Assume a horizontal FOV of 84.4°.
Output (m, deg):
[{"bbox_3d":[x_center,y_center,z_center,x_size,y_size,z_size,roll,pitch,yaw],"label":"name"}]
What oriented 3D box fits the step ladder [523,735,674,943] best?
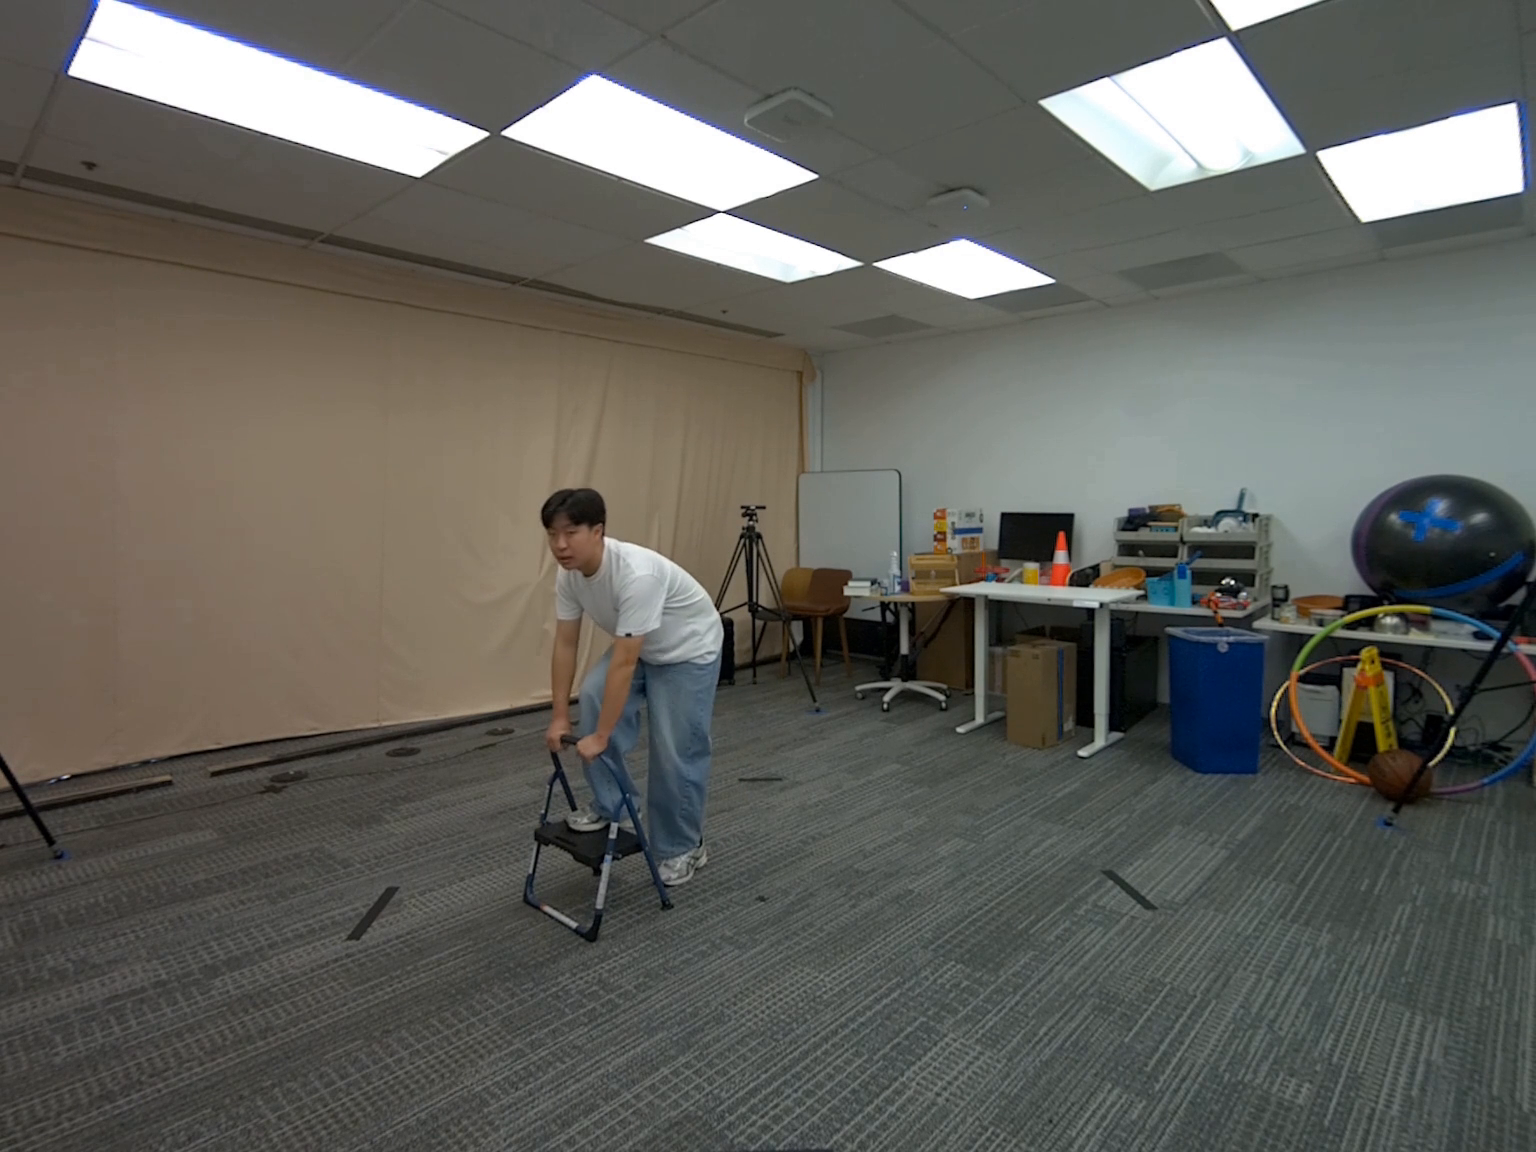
[{"bbox_3d":[-0.604,0.848,2.933,0.445,0.605,0.338,2,4,43],"label":"step ladder"}]
